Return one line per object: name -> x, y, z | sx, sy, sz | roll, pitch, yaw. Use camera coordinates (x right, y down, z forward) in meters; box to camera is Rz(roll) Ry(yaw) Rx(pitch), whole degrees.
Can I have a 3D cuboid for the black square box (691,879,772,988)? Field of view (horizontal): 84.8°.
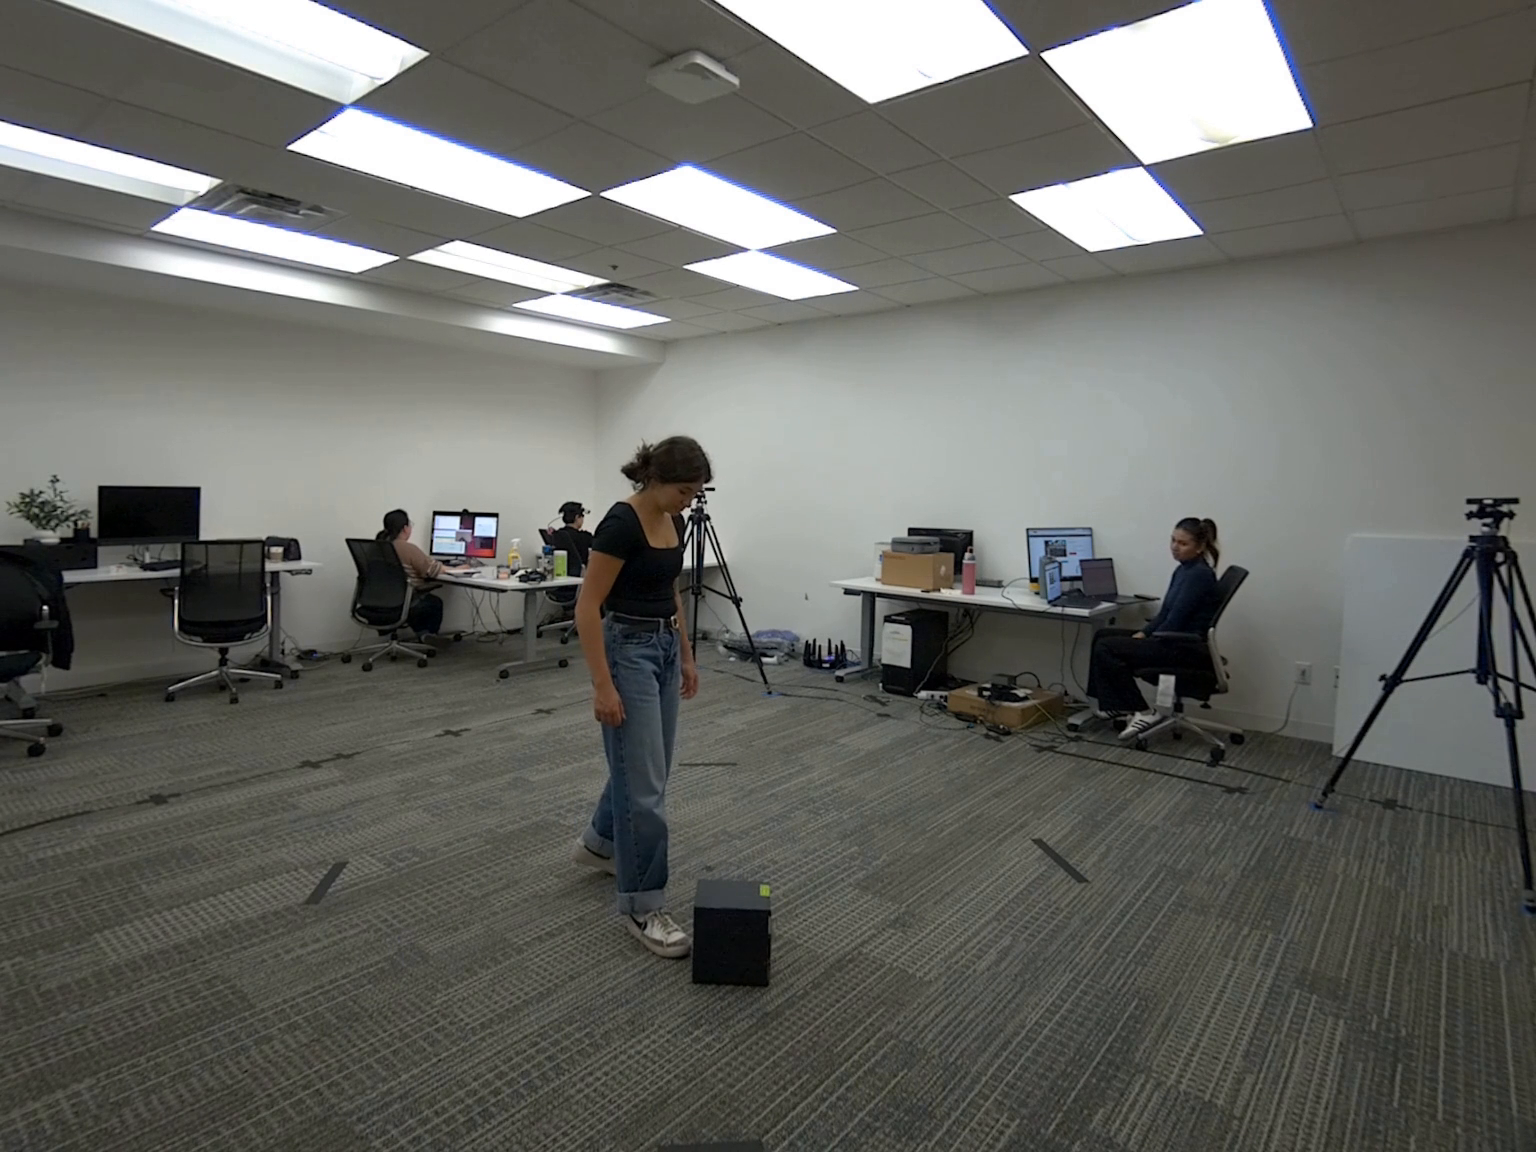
black square box -> -0.112, 1.013, 2.445 | 0.218, 0.227, 0.156 | 2, 4, 2
